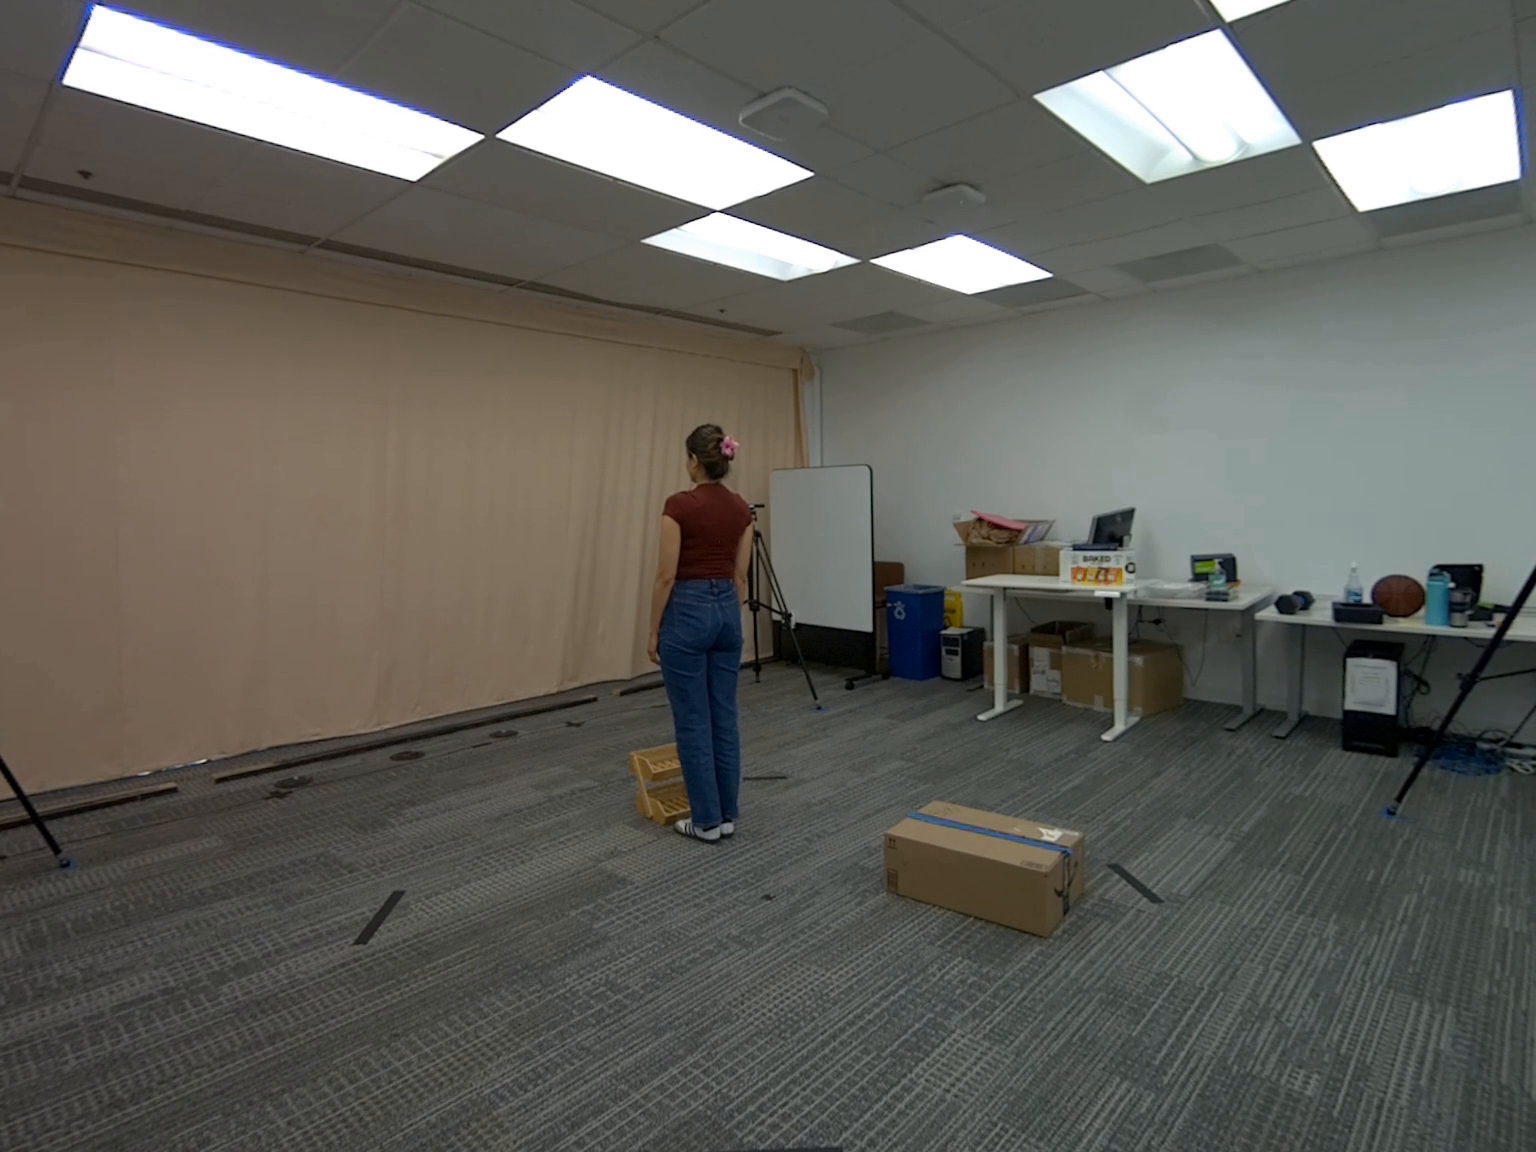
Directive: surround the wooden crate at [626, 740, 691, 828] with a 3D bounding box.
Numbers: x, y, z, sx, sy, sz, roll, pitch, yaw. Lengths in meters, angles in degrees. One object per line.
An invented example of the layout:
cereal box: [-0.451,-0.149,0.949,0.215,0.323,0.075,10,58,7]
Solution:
wooden crate: [-0.428,0.933,3.871,0.315,0.273,0.311,-4,4,-38]
